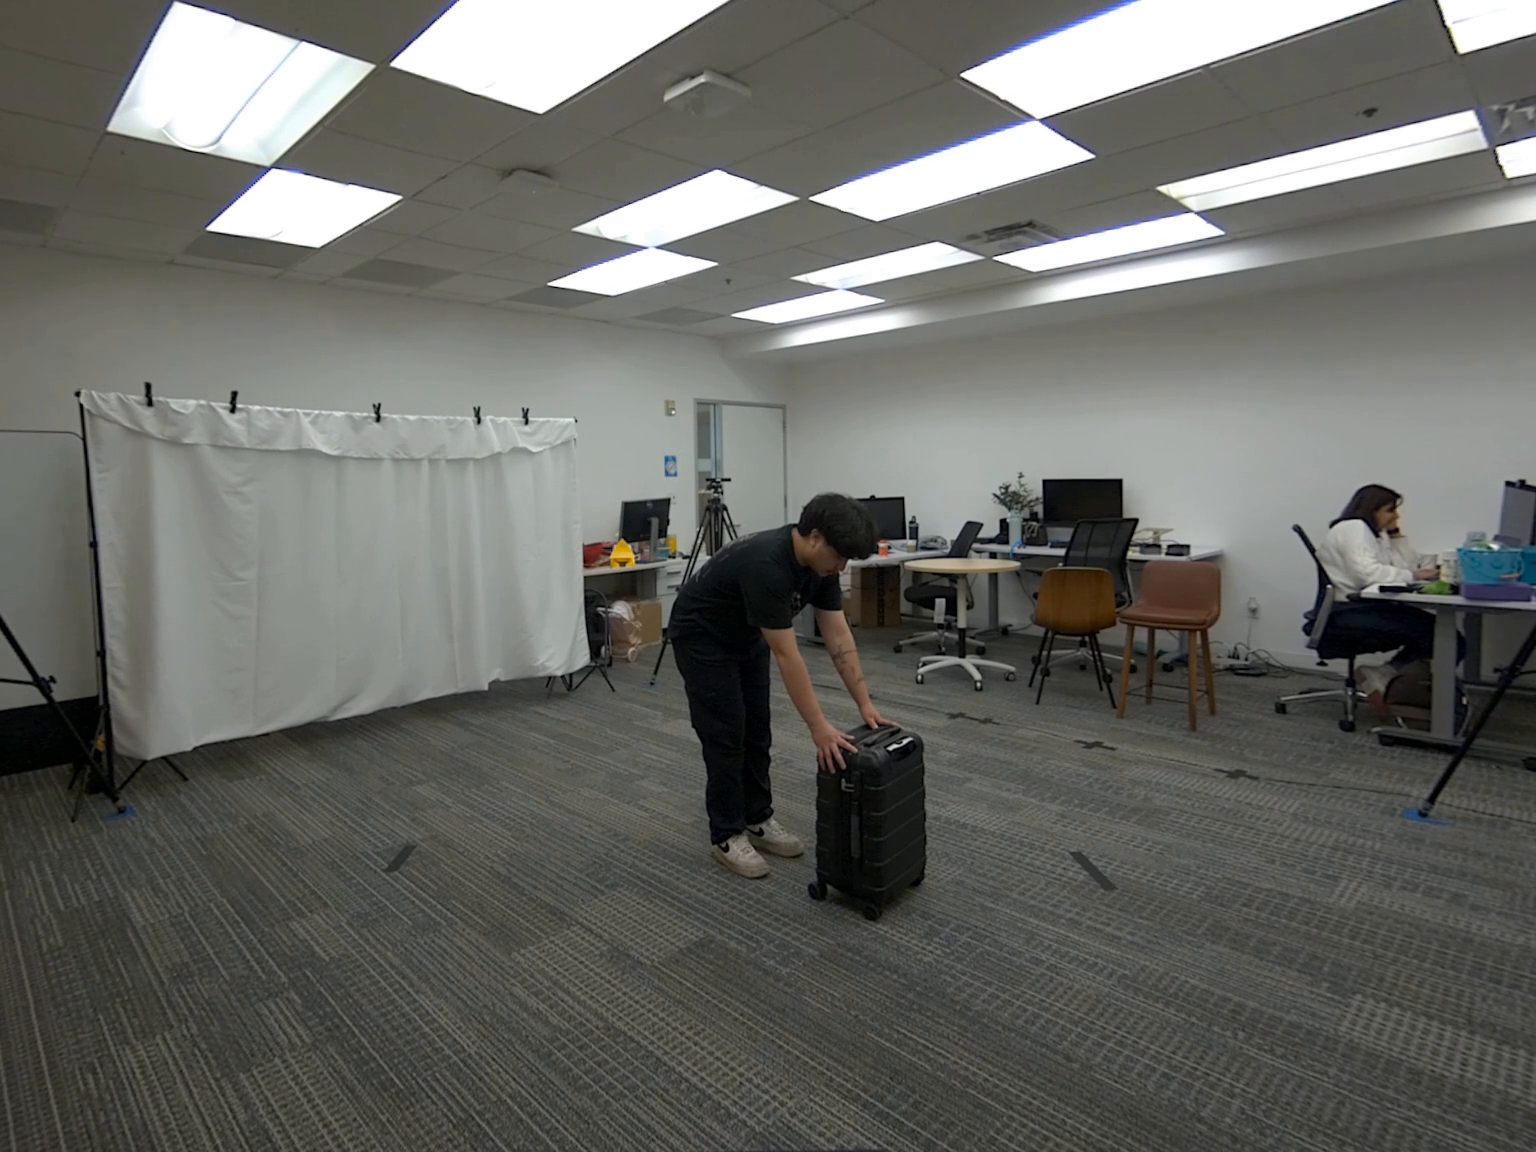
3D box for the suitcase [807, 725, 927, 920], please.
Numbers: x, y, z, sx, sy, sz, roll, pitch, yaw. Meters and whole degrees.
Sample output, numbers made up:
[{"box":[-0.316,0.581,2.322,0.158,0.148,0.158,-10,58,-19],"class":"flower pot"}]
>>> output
[{"box":[0.354,0.794,2.843,0.256,0.547,0.366,3,6,37],"class":"suitcase"}]
